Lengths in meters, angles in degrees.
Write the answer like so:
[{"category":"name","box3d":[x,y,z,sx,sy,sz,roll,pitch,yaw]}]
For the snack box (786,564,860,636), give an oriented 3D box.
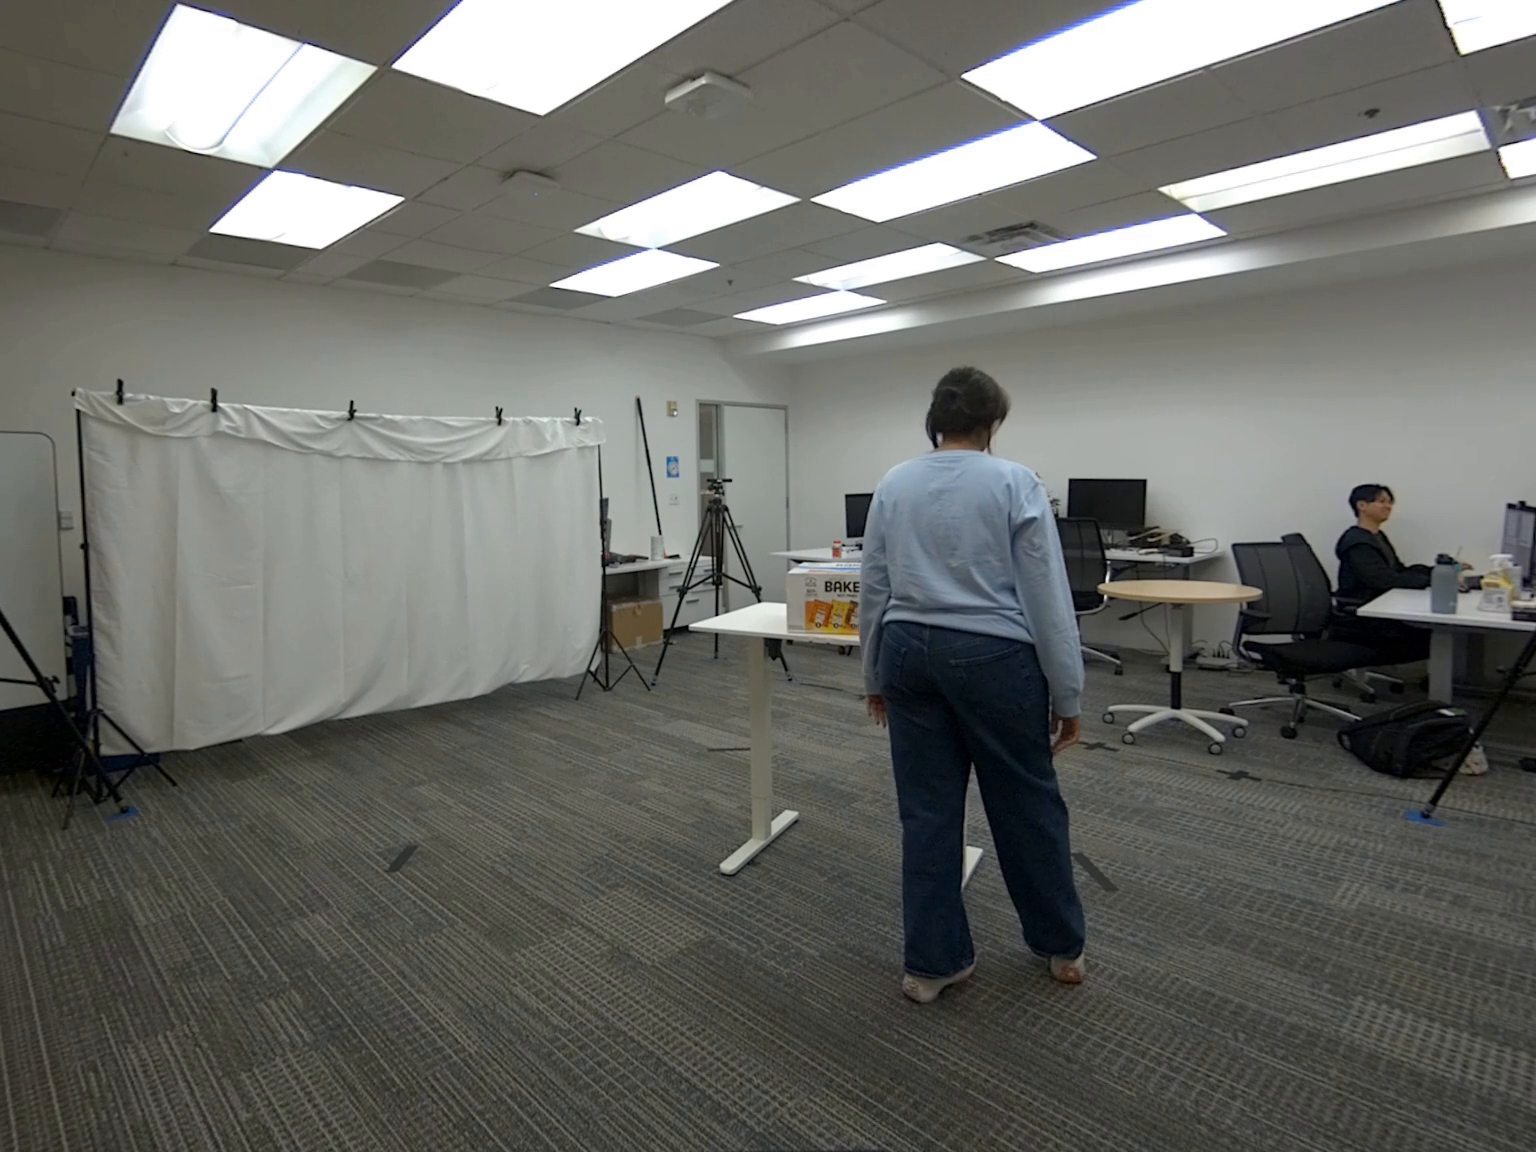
[{"category":"snack box","box3d":[0.299,0.071,2.952,0.411,0.204,0.337,1,7,13]}]
